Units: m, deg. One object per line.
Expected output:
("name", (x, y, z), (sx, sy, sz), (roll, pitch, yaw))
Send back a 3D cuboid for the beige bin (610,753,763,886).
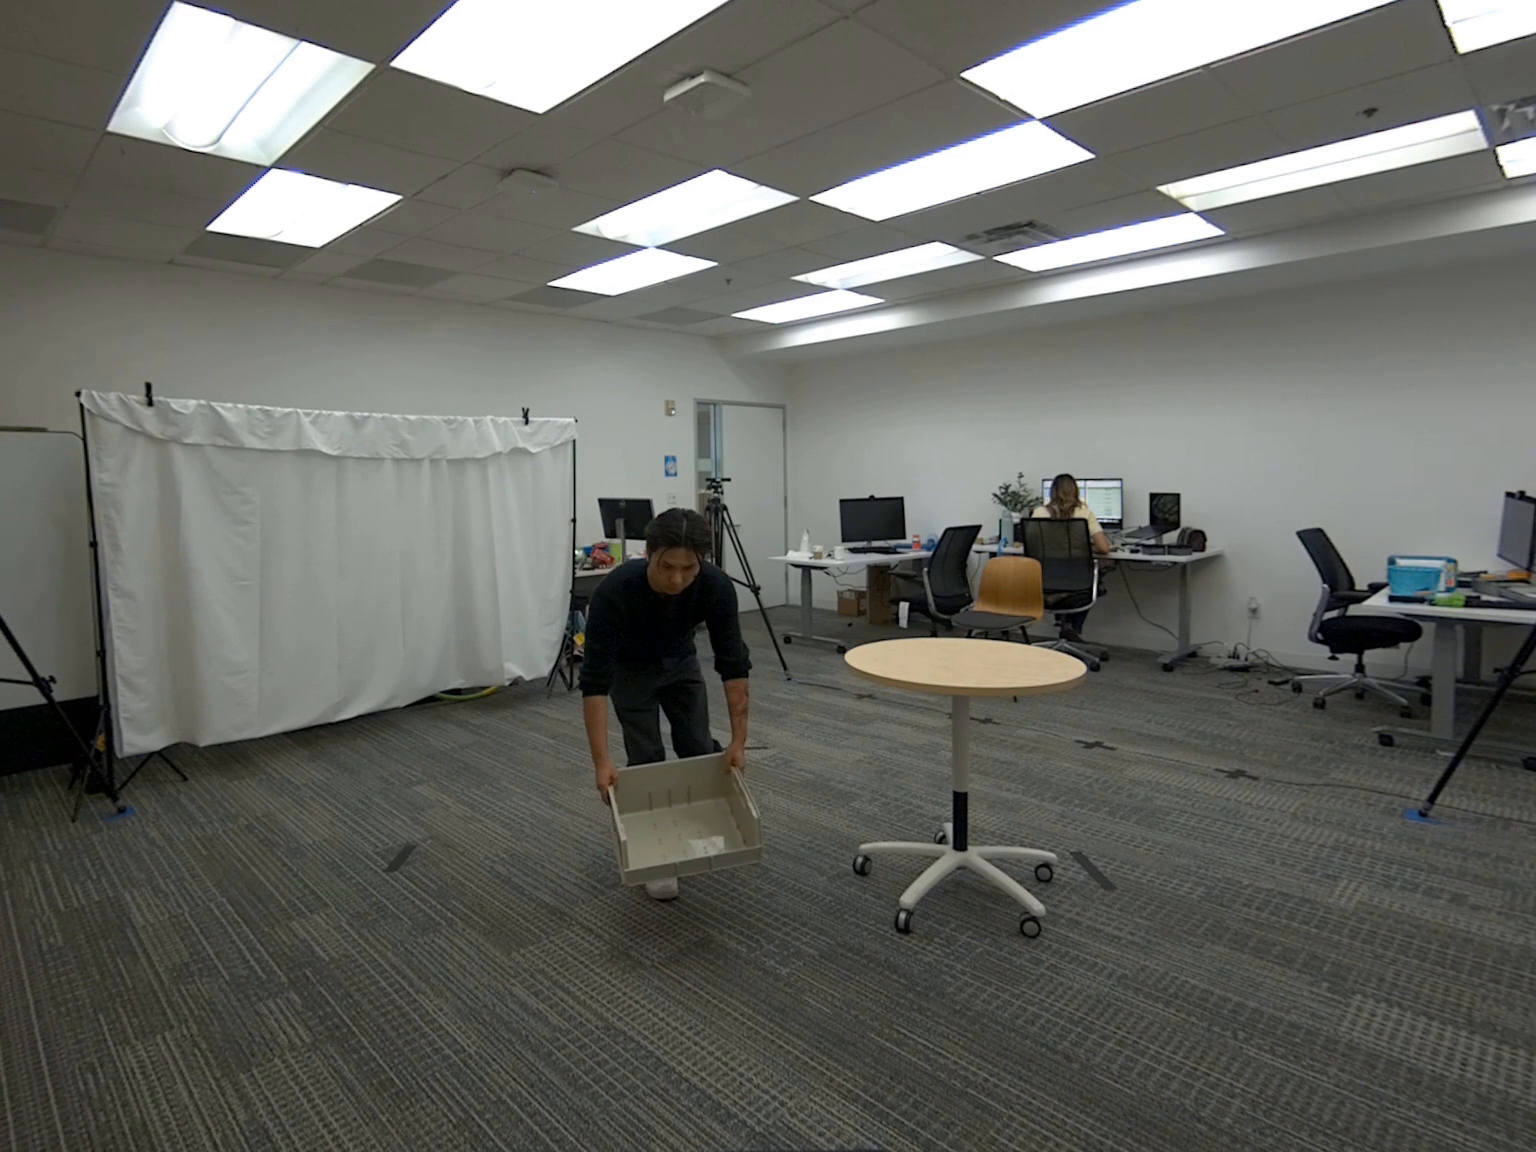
("beige bin", (-0.269, 0.755, 2.654), (0.417, 0.186, 0.389), (-5, 21, -15))
